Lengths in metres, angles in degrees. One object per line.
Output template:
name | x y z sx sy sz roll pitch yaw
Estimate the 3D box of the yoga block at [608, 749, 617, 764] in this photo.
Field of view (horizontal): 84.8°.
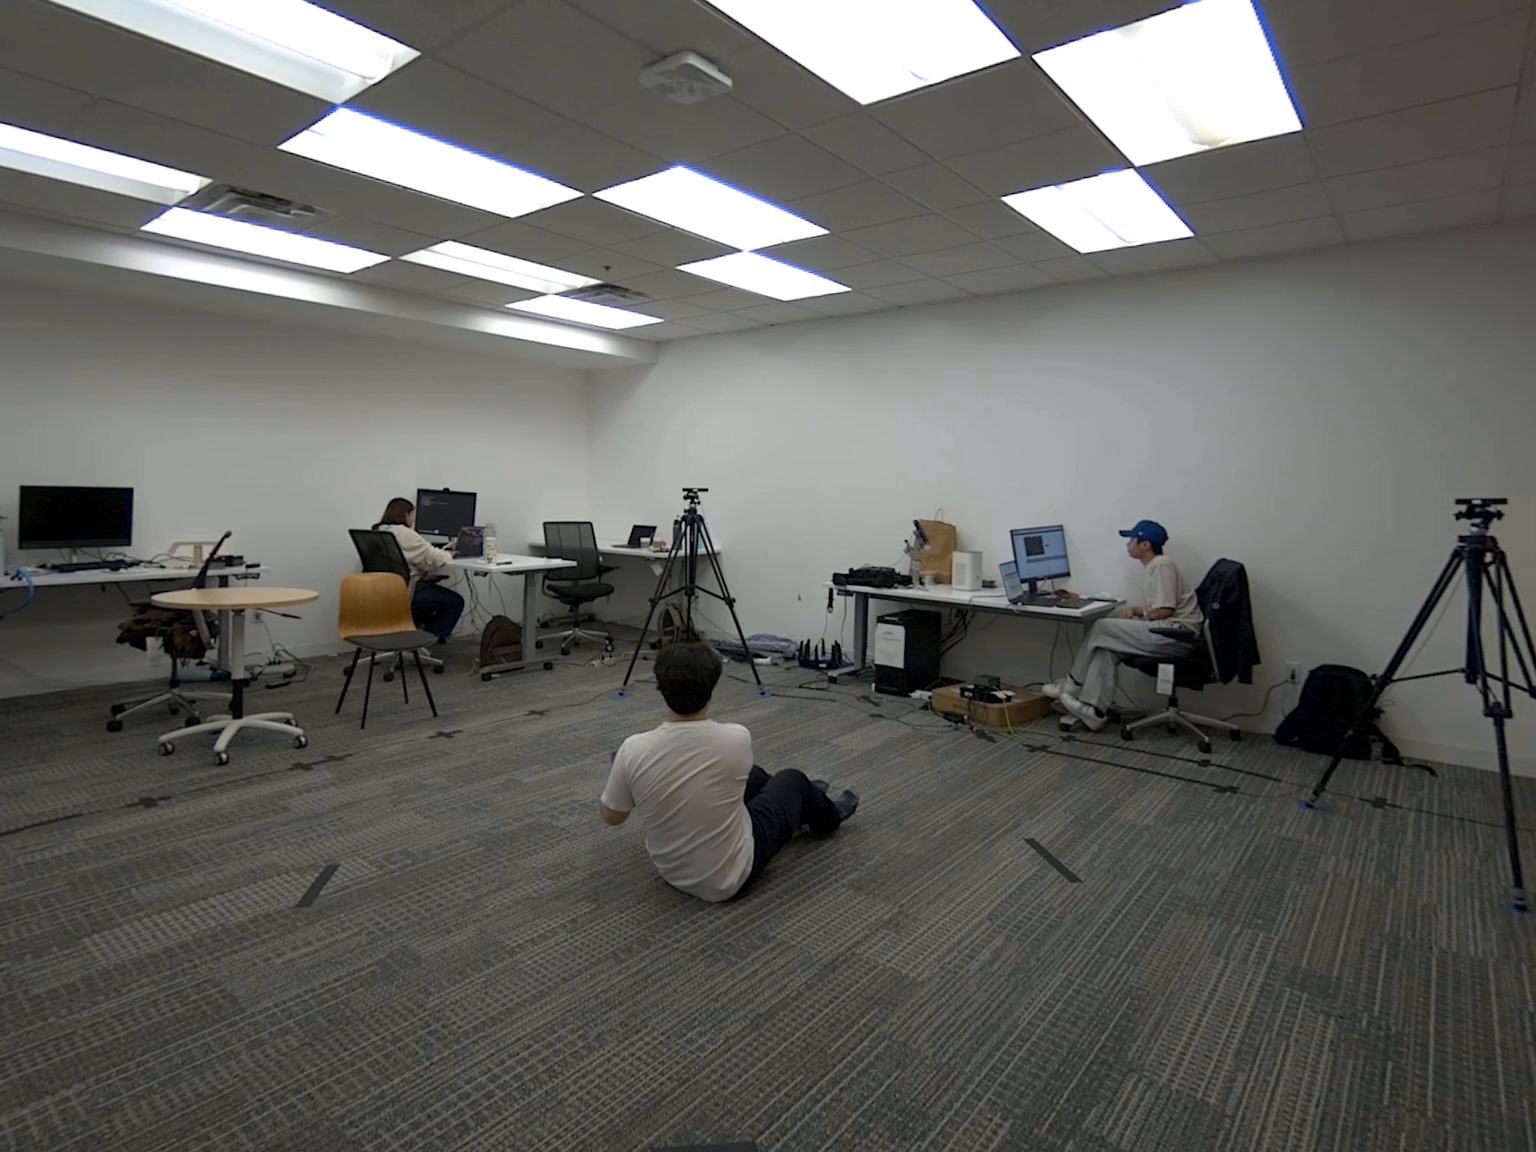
yoga block | -0.518 0.781 3.343 0.146 0.233 0.076 -9 -14 -21
